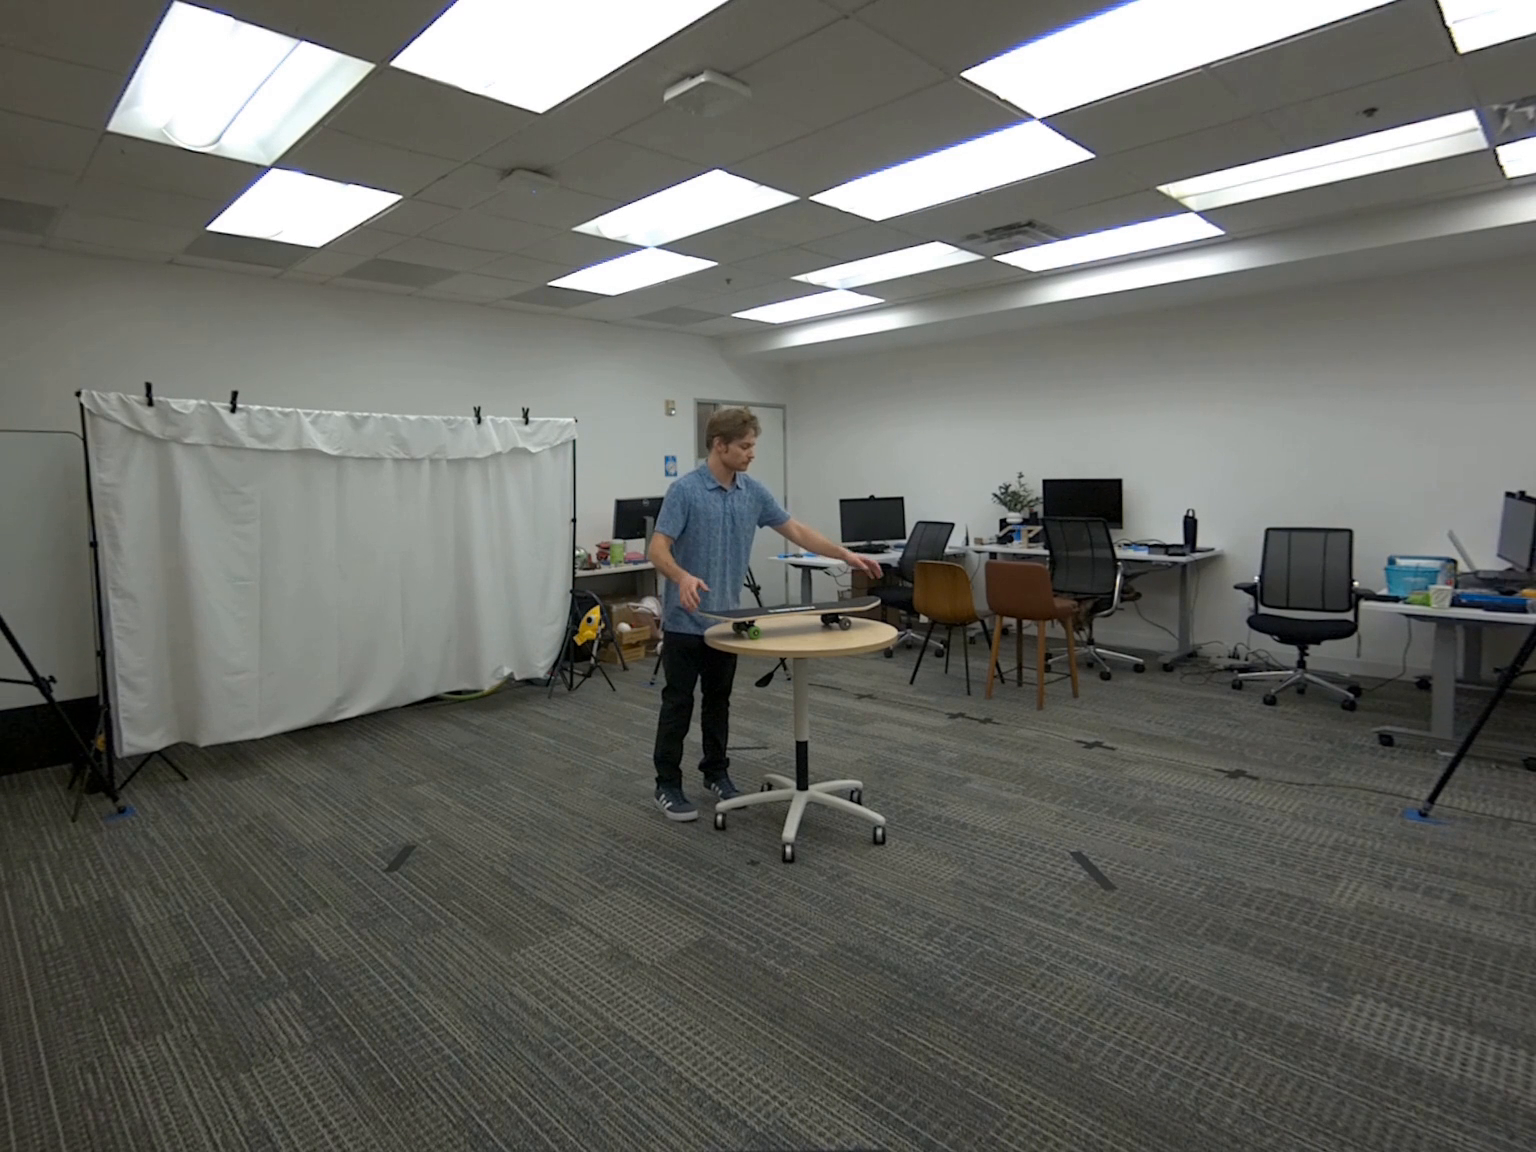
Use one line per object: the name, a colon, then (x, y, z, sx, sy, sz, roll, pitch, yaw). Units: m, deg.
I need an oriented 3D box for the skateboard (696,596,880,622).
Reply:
skateboard: (0.098, 0.169, 3.404, 0.771, 0.110, 0.198, -4, 5, -22)
